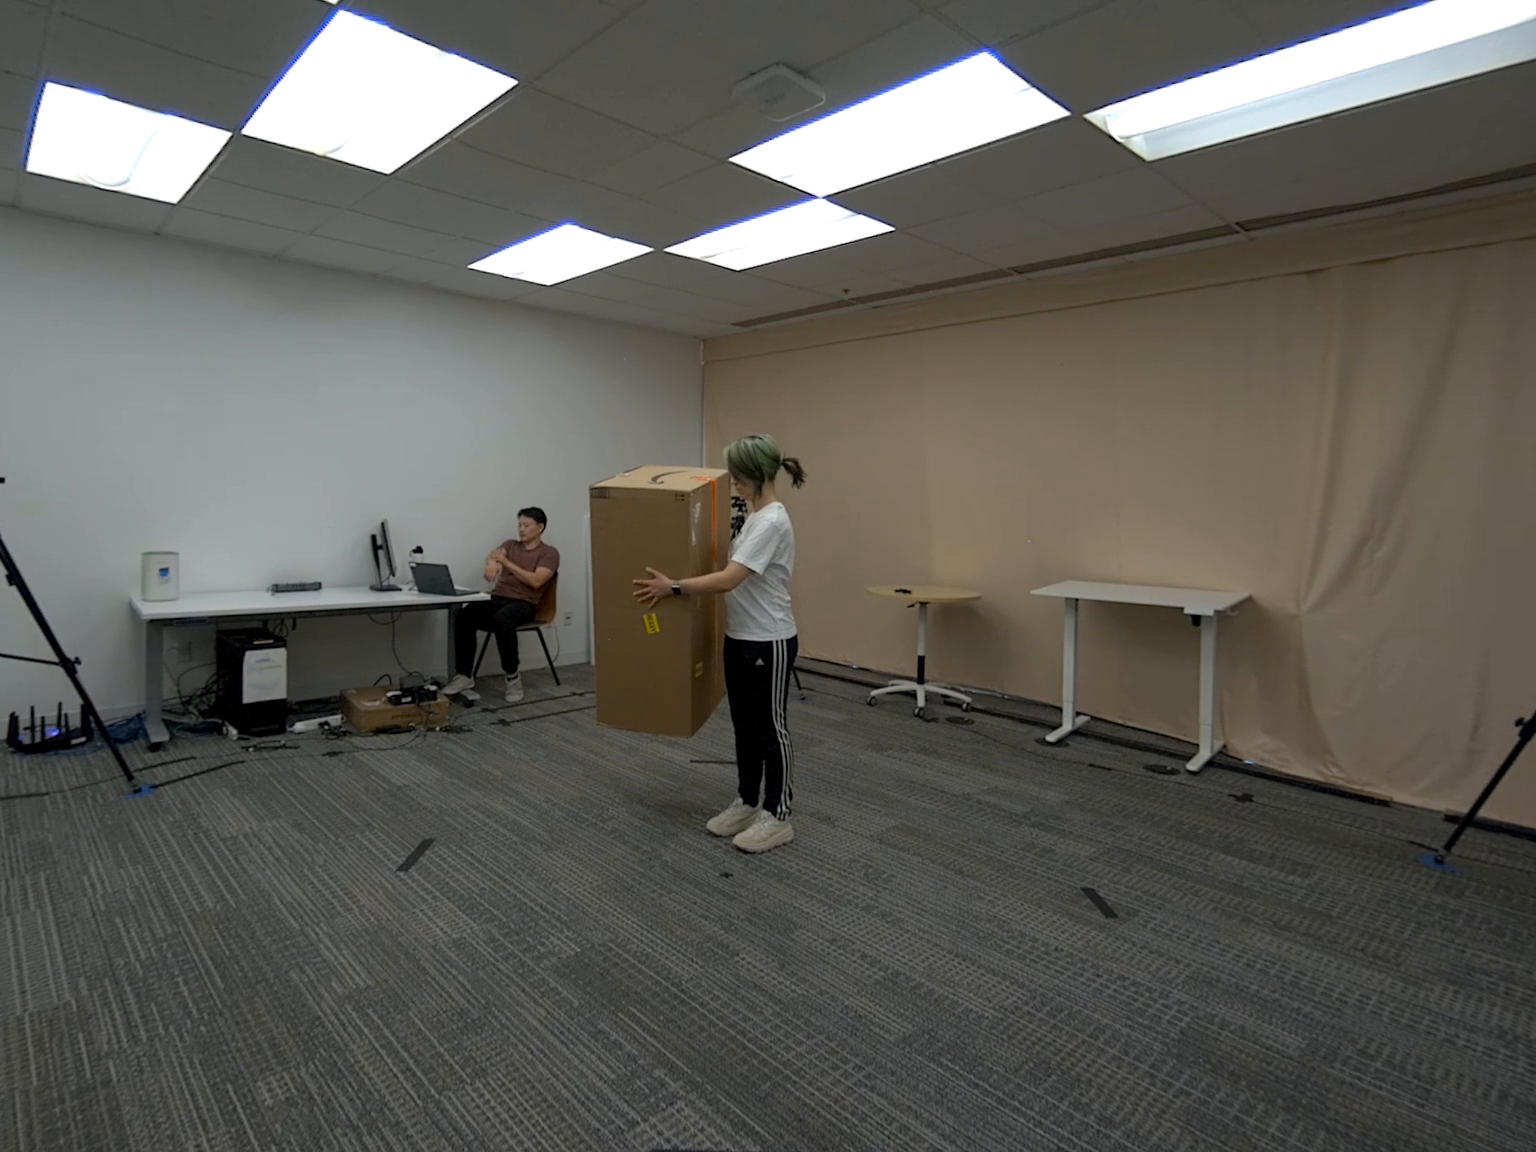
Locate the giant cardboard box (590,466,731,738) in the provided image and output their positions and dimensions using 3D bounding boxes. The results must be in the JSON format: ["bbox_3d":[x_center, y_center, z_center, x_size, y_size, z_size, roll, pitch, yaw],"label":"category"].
[{"bbox_3d":[-0.448,0.084,3.616,0.431,1.016,0.576,4,14,14],"label":"giant cardboard box"}]
